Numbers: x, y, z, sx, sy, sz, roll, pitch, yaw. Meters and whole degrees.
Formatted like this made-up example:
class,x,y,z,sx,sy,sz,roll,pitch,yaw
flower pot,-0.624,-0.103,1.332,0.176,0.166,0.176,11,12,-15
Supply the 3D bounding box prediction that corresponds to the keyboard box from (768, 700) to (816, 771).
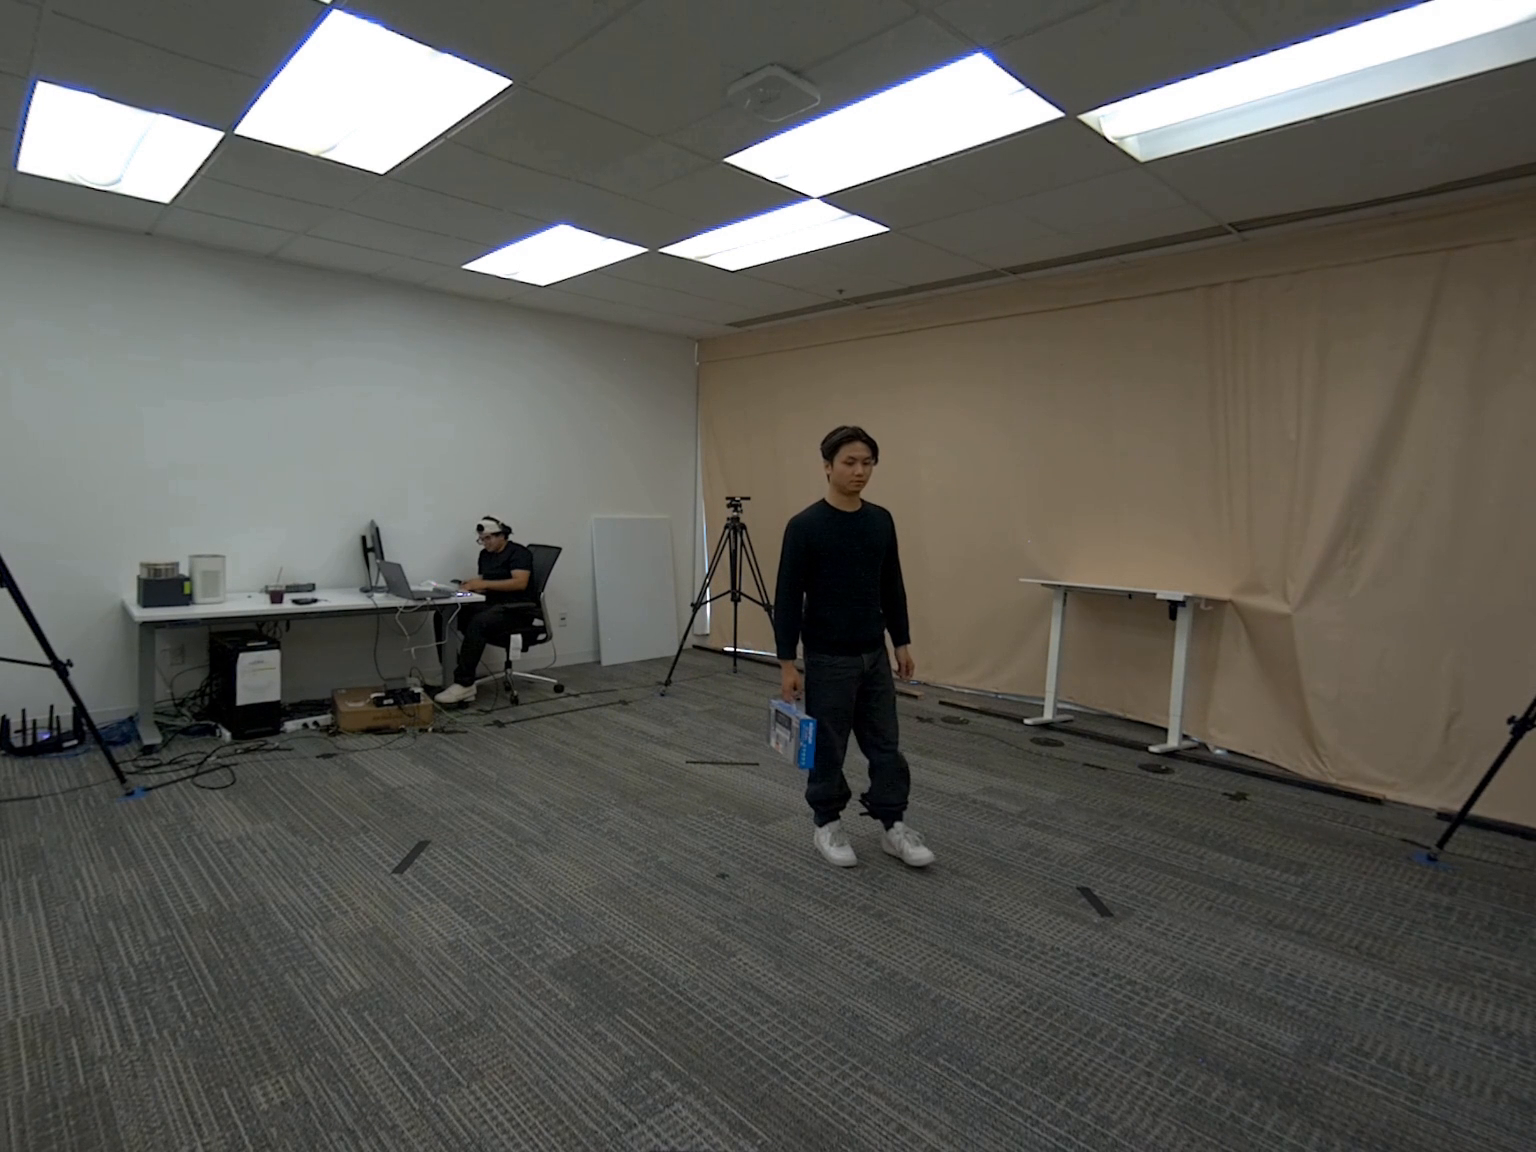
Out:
class,x,y,z,sx,sy,sz,roll,pitch,yaw
keyboard box,0.080,0.580,3.146,0.058,0.176,0.441,3,0,-14
